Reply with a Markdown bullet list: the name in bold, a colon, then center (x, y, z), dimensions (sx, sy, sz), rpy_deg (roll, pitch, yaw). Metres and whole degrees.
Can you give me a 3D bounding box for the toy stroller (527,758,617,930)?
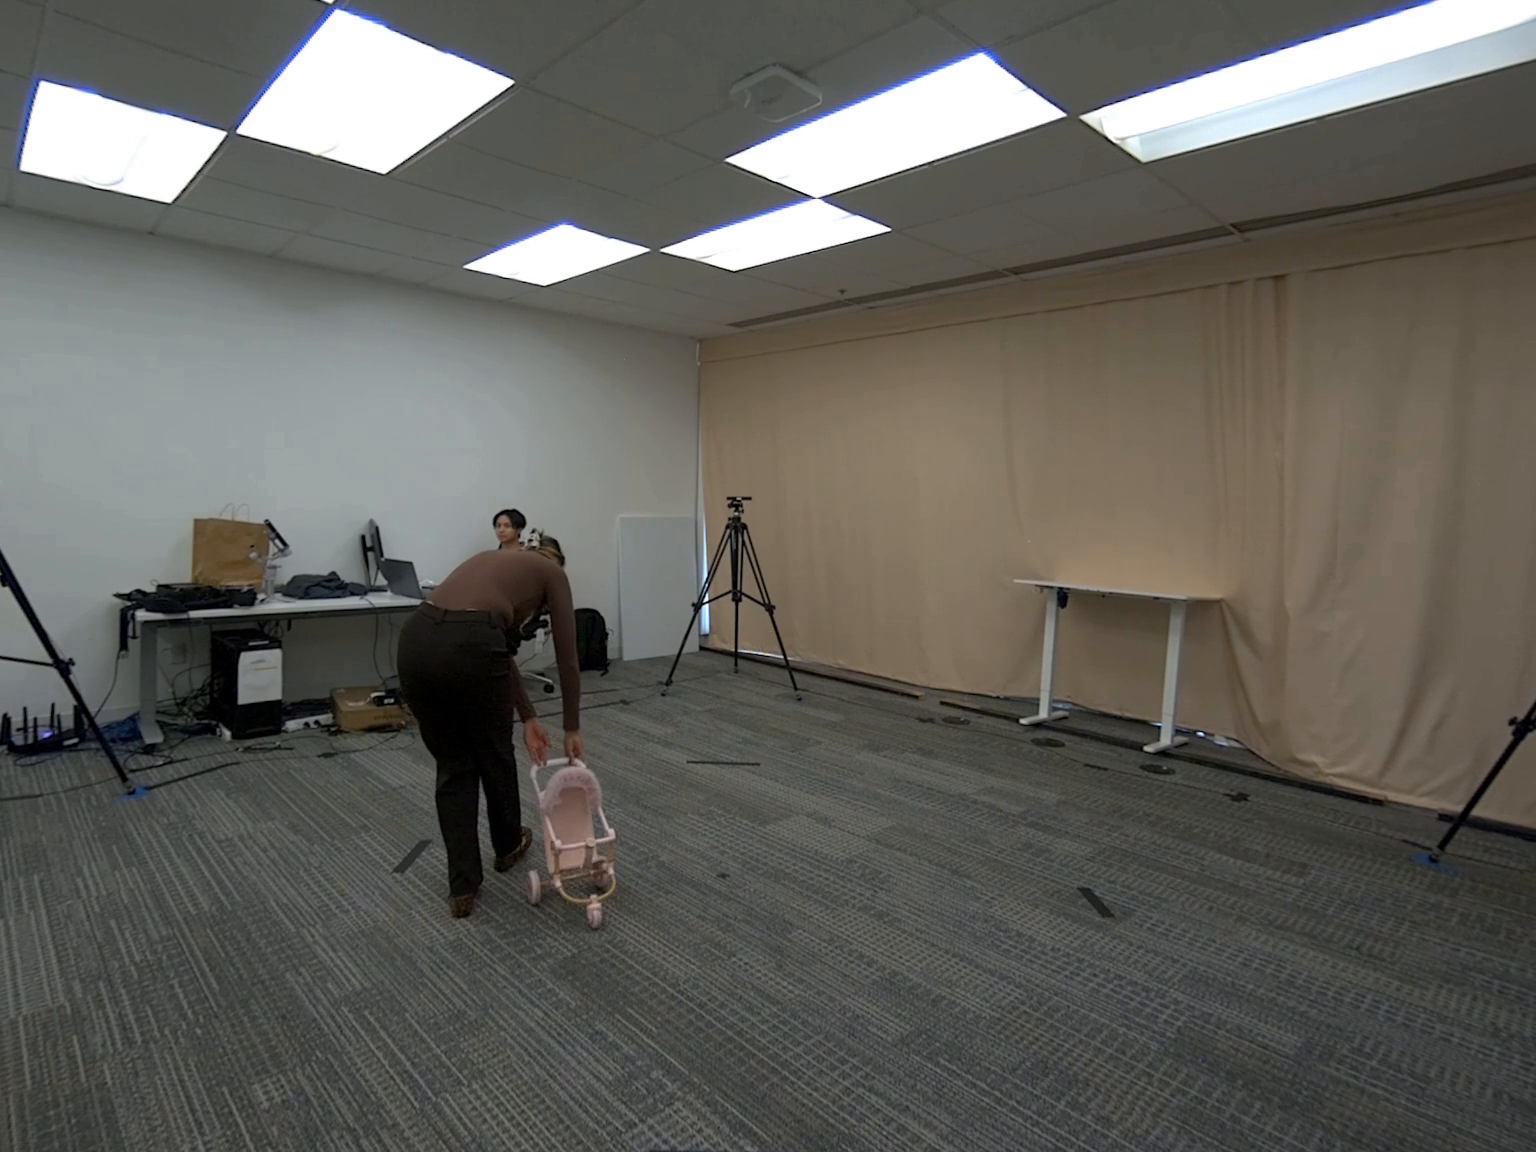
- **toy stroller**: center (-0.663, 0.890, 2.858), dimensions (0.276, 0.540, 0.345), rpy_deg (-2, -12, -28)
